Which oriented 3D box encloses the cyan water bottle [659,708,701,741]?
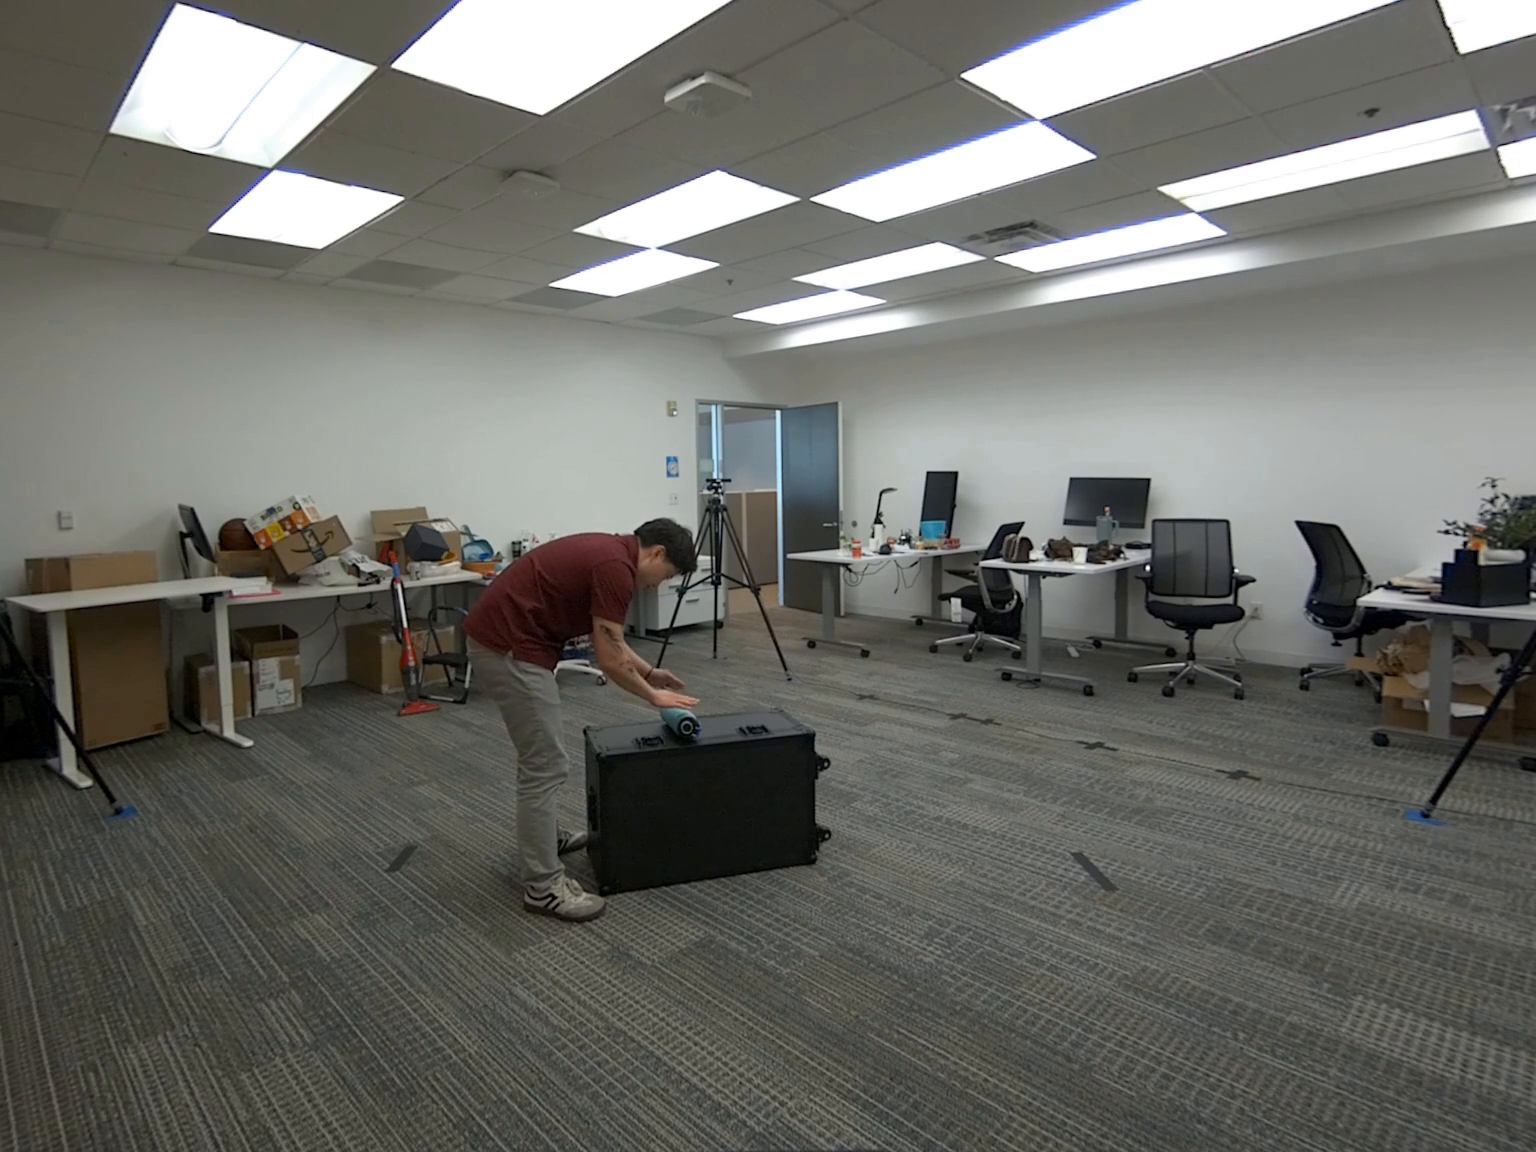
[{"bbox_3d":[-0.322,0.518,3.098,0.091,0.092,0.289,-3,6,-19],"label":"cyan water bottle"}]
